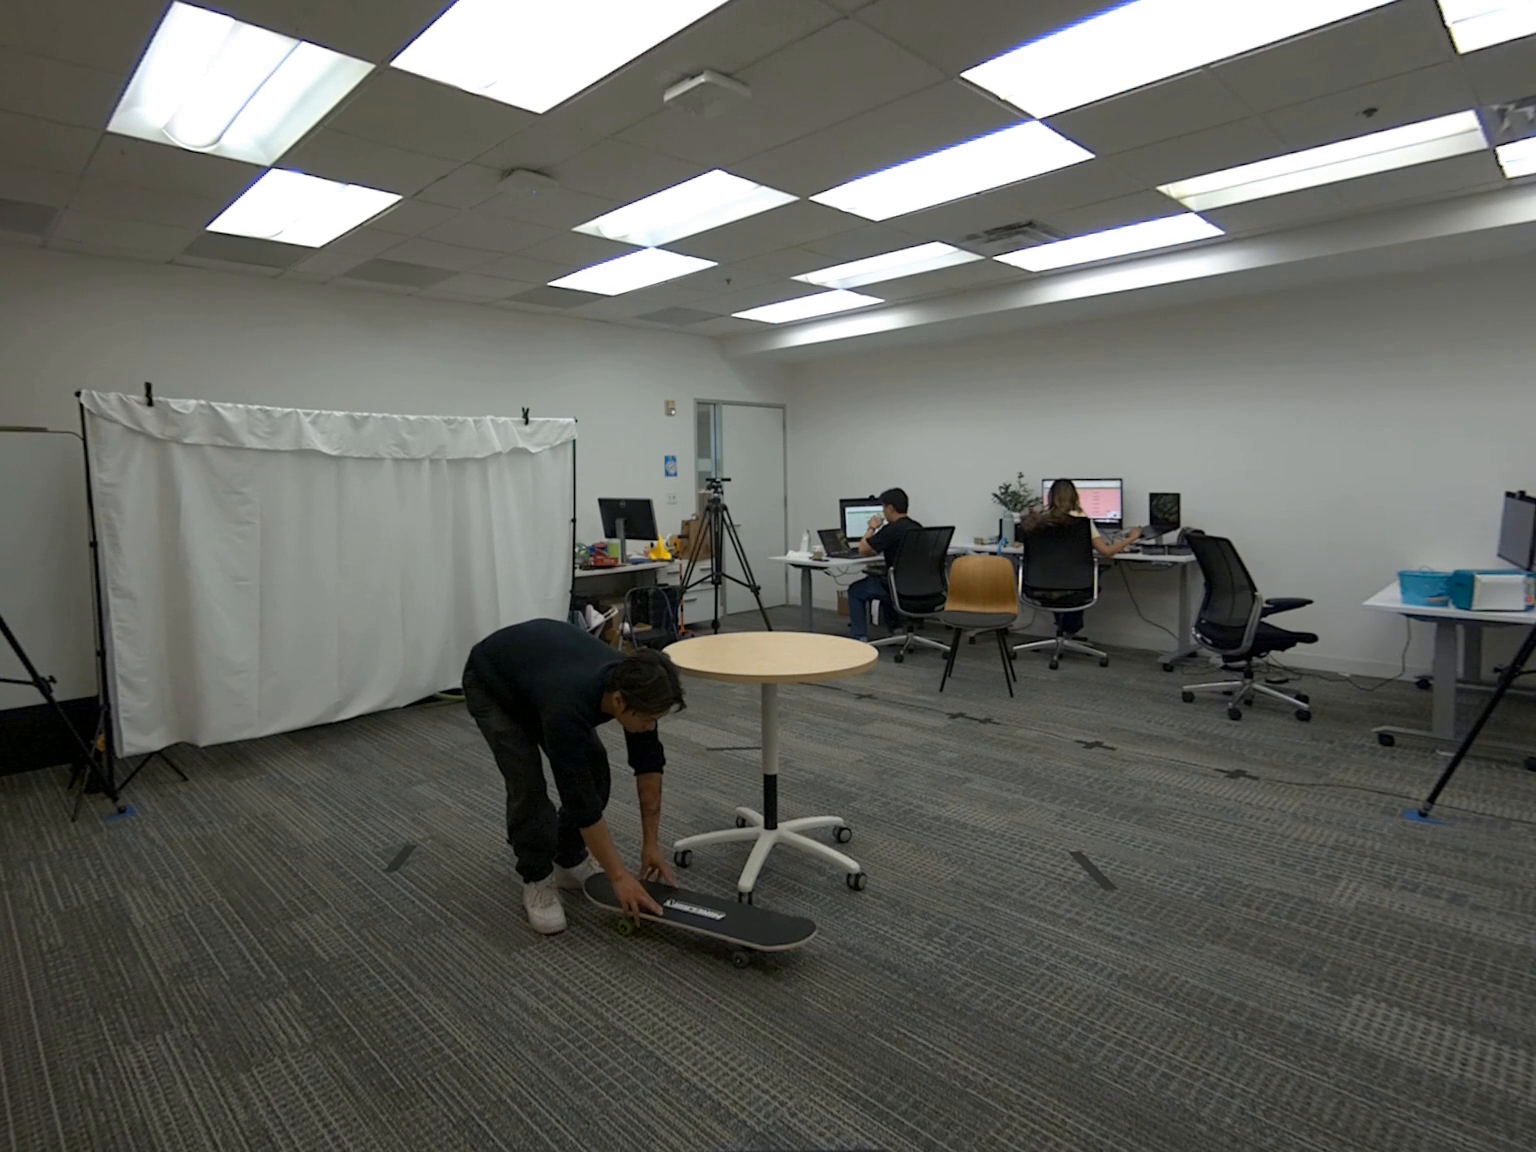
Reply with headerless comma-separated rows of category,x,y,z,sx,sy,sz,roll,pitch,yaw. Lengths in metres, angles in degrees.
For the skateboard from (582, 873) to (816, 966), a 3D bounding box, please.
skateboard,-0.220,1.046,2.596,0.805,0.110,0.189,2,7,28
